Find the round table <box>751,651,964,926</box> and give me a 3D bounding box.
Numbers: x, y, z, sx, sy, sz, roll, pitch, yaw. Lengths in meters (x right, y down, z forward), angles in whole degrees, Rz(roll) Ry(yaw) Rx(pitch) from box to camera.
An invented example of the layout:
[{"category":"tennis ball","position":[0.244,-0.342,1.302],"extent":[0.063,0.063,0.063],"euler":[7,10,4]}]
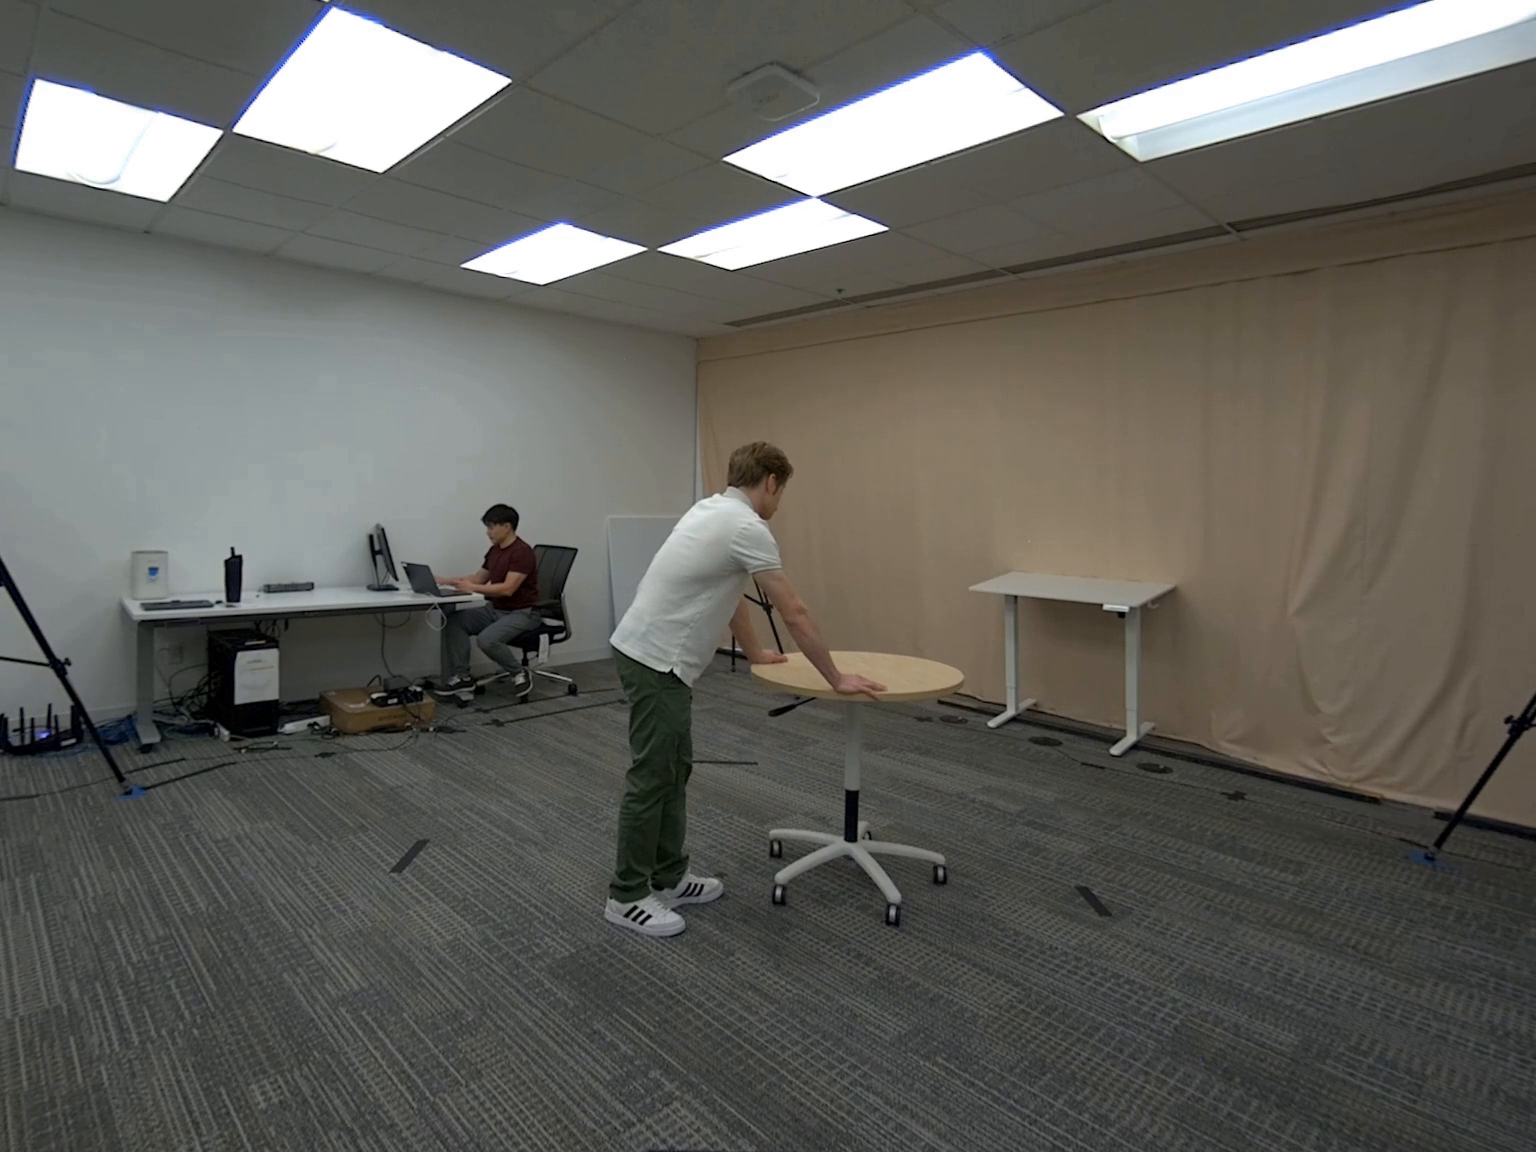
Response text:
[{"category":"round table","position":[0.308,0.730,3.082],"extent":[0.763,0.792,0.766],"euler":[1,3,-1]}]
